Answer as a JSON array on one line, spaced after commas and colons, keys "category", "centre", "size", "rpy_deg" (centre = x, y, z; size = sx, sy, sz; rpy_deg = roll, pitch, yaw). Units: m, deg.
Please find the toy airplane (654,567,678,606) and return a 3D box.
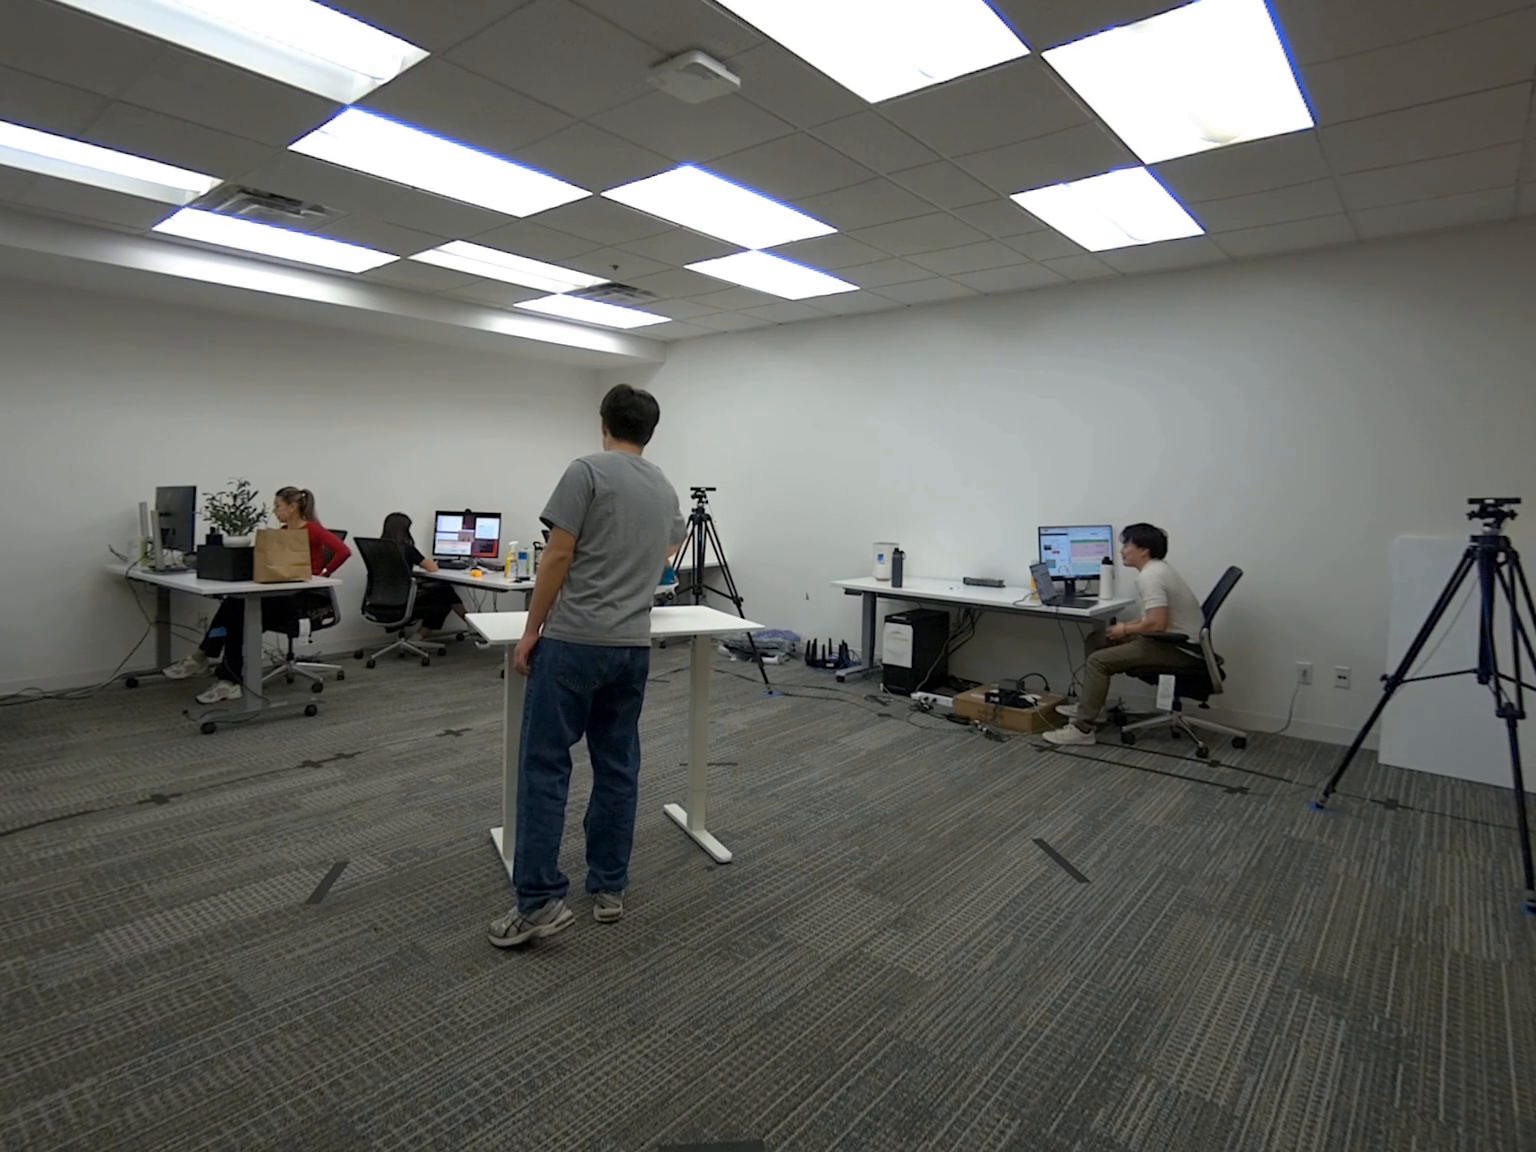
[{"category": "toy airplane", "centre": [-0.505, 0.048, 3.426], "size": [0.256, 0.156, 0.255], "rpy_deg": [-20, 4, -21]}]
